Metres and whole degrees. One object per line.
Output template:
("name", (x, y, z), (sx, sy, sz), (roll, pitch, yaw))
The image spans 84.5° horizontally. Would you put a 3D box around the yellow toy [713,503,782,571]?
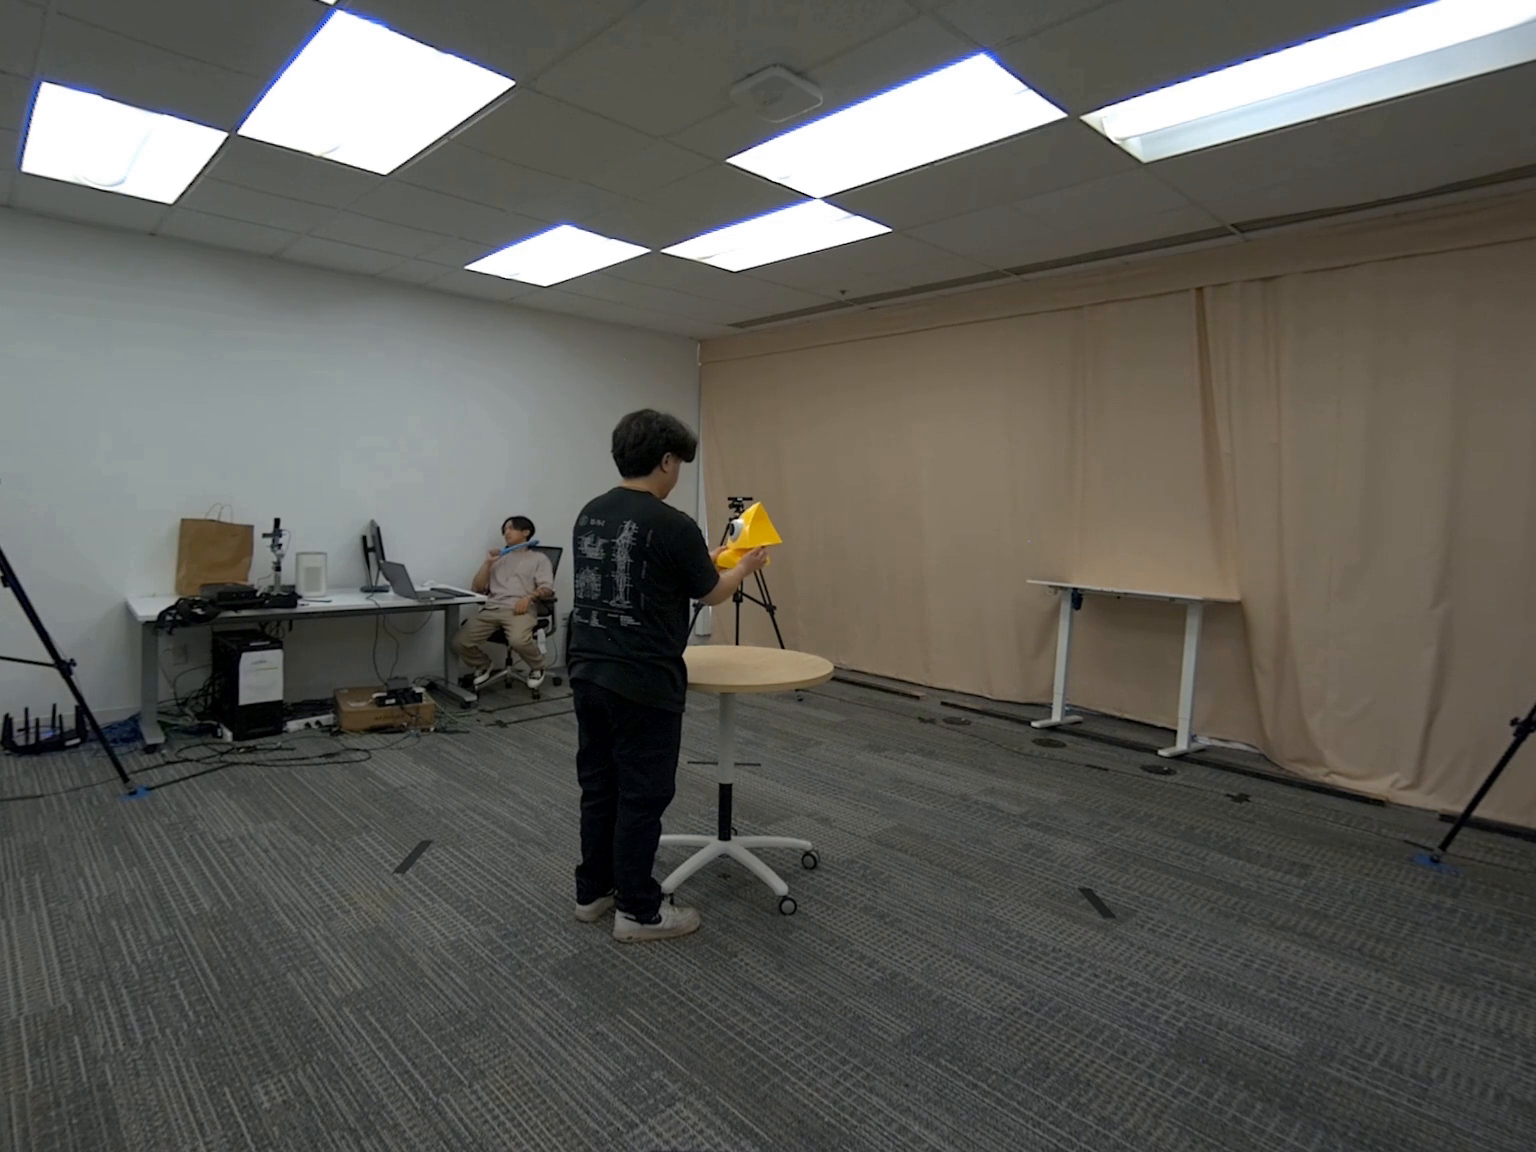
("yellow toy", (-0.090, -0.155, 3.039), (0.198, 0.229, 0.201), (7, 12, 37))
